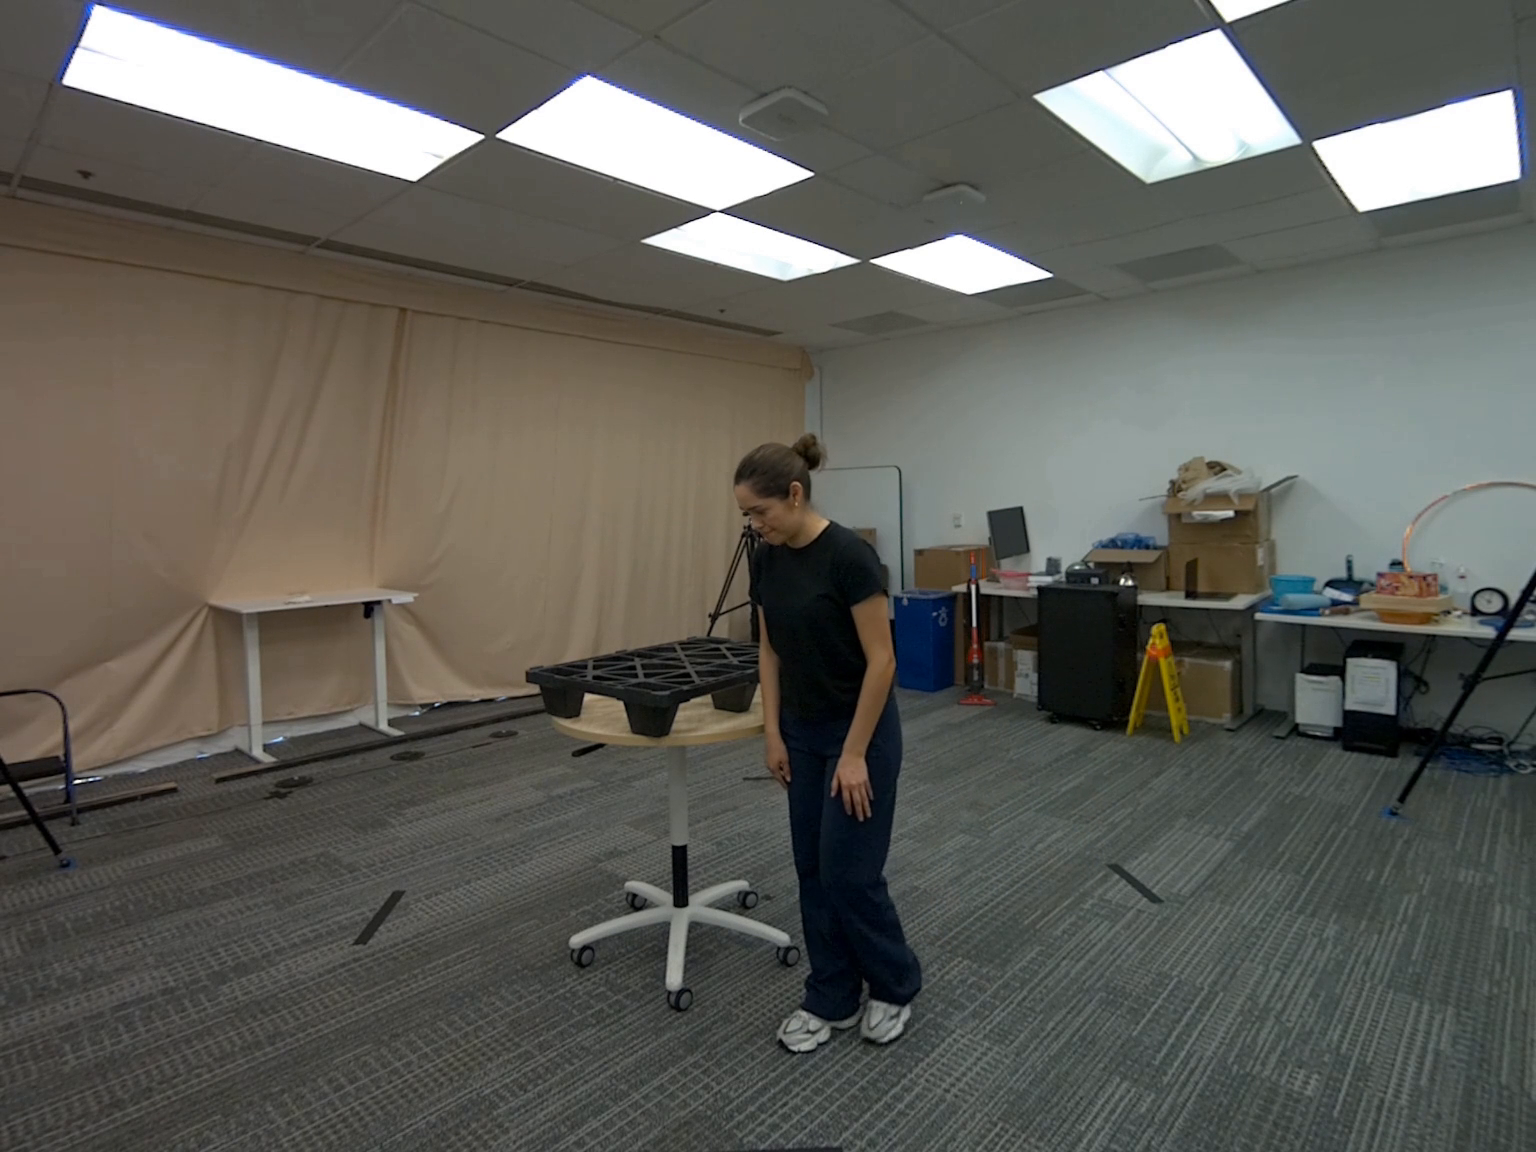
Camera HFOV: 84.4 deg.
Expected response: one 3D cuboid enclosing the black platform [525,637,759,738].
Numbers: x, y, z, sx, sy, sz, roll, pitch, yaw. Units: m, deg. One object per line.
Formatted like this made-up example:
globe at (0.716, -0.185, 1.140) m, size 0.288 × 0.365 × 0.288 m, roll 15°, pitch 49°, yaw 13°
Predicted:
black platform at (-0.248, 0.332, 2.637) m, size 0.625 × 0.143 × 0.781 m, roll 2°, pitch 5°, yaw 39°
